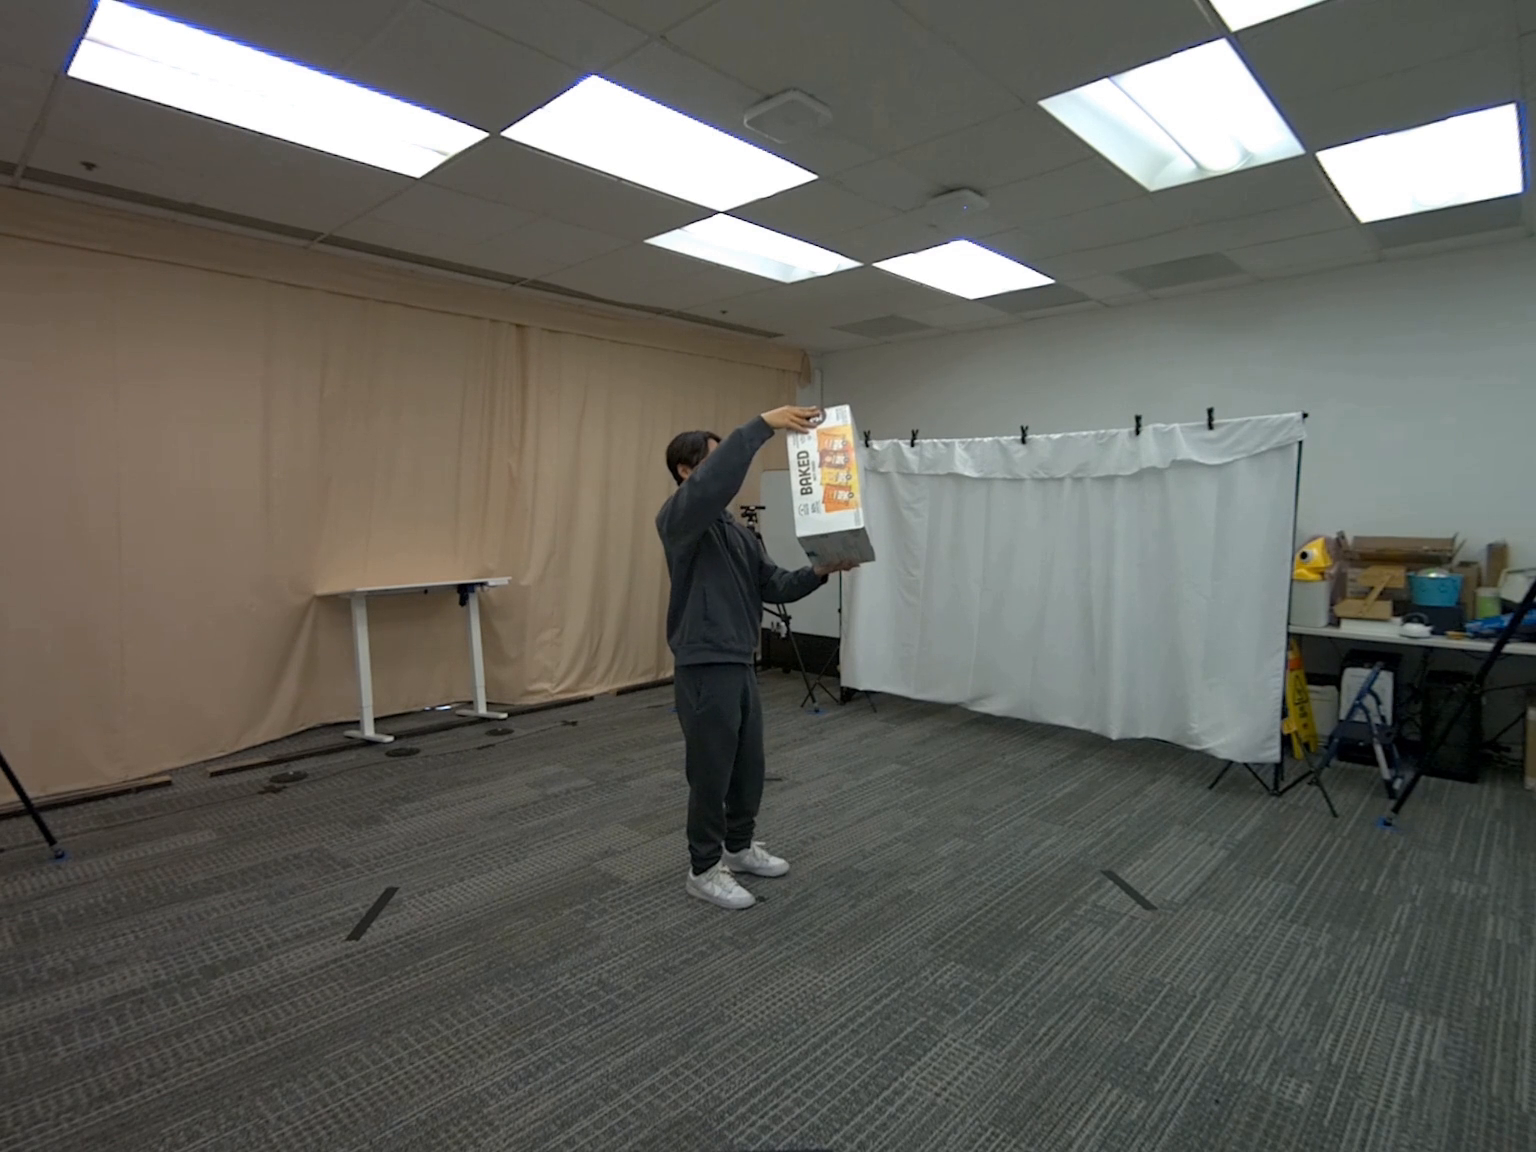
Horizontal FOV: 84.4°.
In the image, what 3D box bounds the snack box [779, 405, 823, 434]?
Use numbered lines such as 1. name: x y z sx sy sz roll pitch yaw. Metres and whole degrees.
1. snack box: 0.214 -0.275 2.664 0.208 0.410 0.332 -9 -19 12
